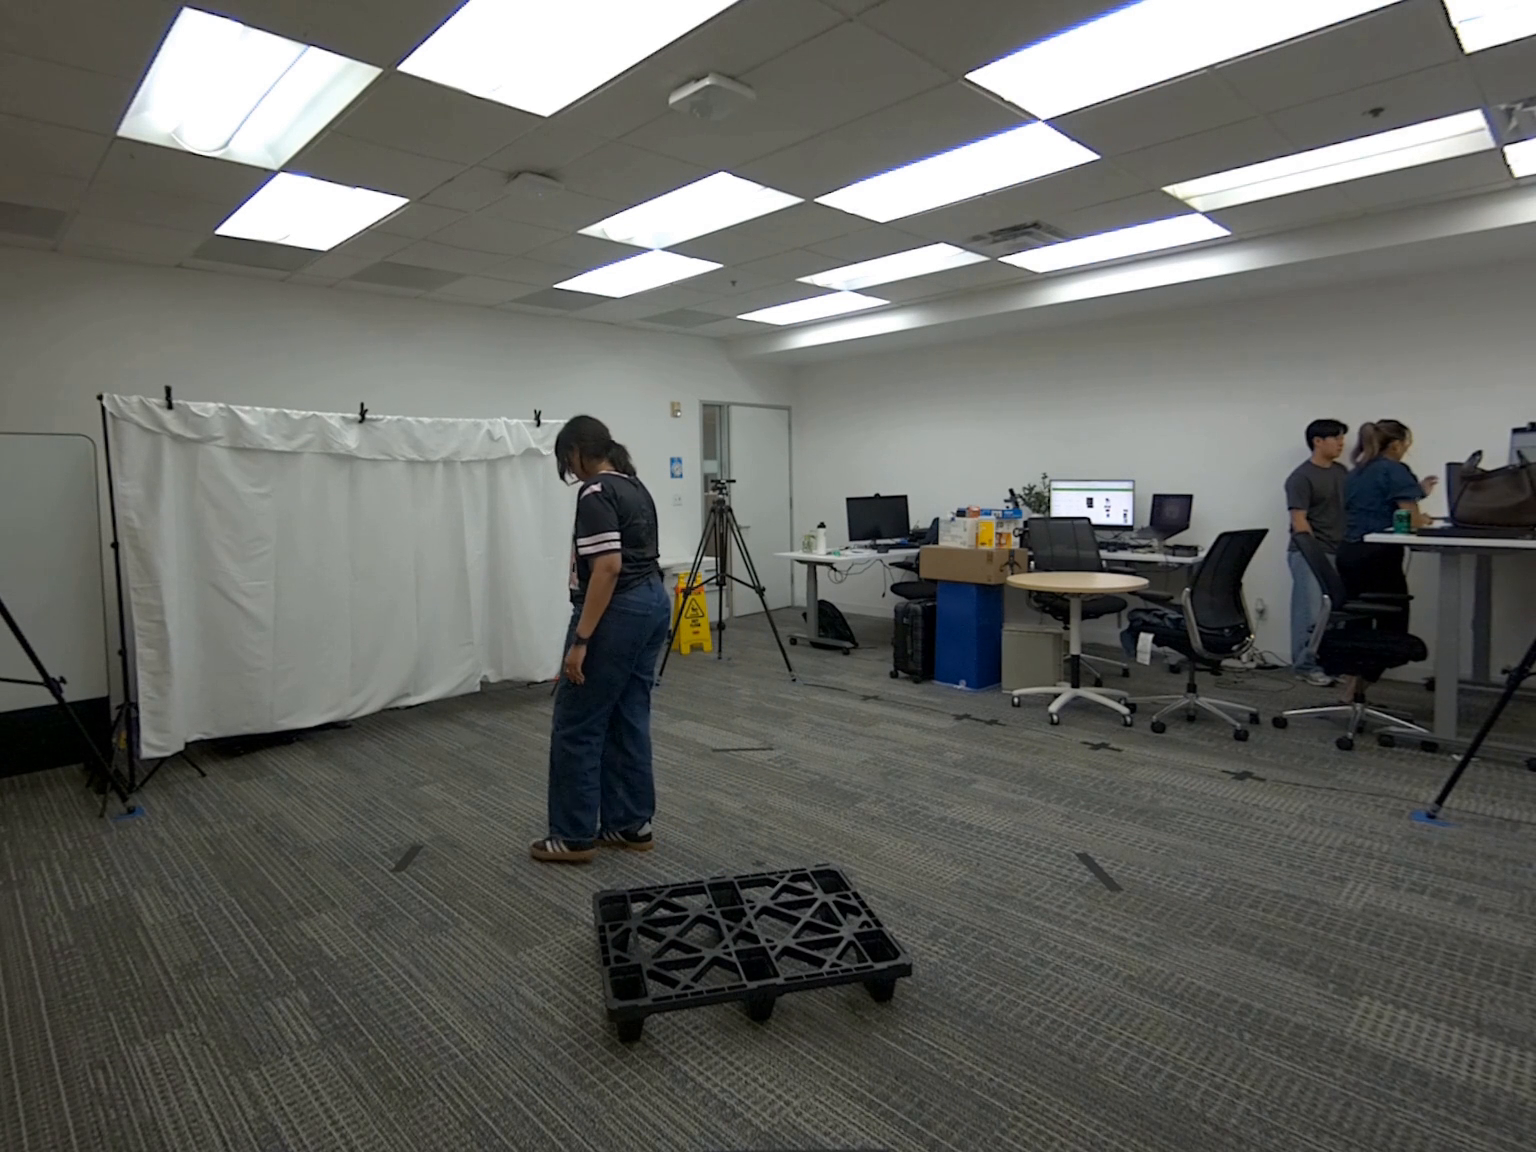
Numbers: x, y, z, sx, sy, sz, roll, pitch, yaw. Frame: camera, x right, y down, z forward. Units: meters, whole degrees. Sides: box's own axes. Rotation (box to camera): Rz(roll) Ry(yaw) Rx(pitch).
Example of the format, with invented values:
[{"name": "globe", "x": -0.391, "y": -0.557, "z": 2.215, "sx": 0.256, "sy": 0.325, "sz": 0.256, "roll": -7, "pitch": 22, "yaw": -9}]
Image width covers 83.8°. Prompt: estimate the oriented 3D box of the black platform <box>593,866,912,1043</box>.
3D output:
[{"name": "black platform", "x": -0.079, "y": 1.060, "z": 2.438, "sx": 0.796, "sy": 0.143, "sz": 0.615, "roll": -3, "pitch": 6, "yaw": -13}]
